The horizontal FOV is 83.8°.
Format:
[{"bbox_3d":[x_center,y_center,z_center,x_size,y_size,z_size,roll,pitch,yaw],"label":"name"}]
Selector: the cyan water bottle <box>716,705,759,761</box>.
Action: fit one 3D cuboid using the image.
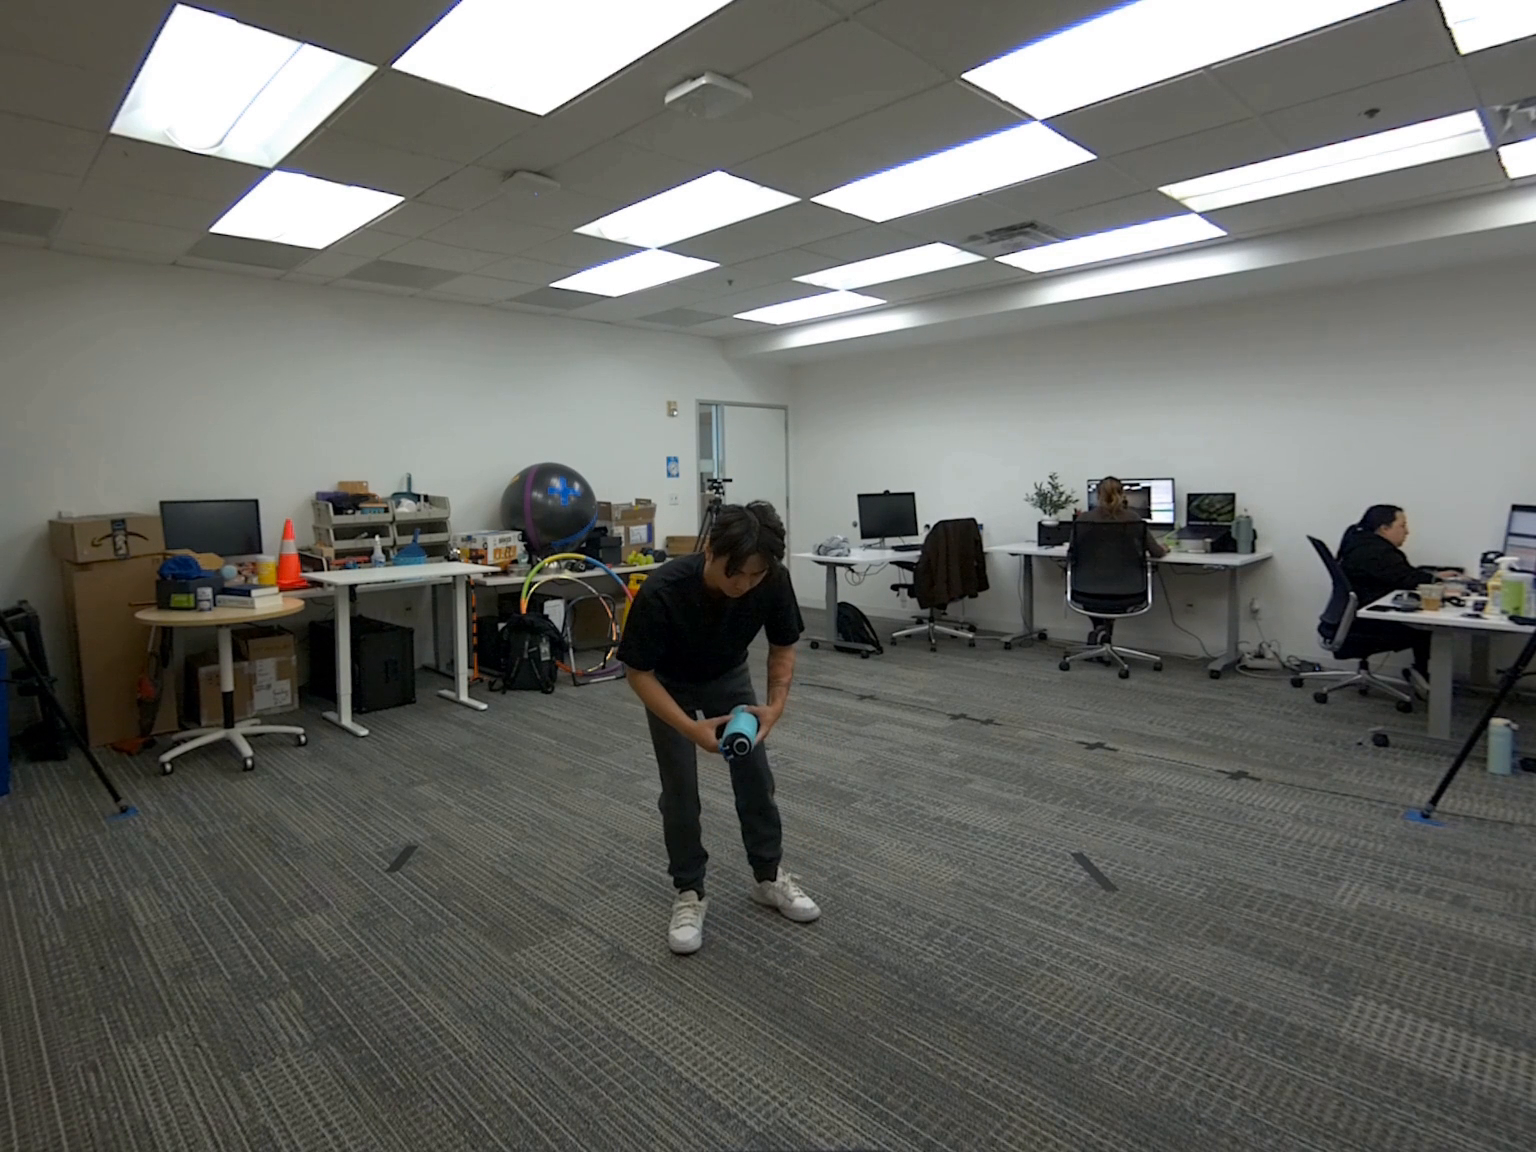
[{"bbox_3d":[-0.070,0.456,2.383,0.093,0.092,0.283,0,6,5],"label":"cyan water bottle"}]
